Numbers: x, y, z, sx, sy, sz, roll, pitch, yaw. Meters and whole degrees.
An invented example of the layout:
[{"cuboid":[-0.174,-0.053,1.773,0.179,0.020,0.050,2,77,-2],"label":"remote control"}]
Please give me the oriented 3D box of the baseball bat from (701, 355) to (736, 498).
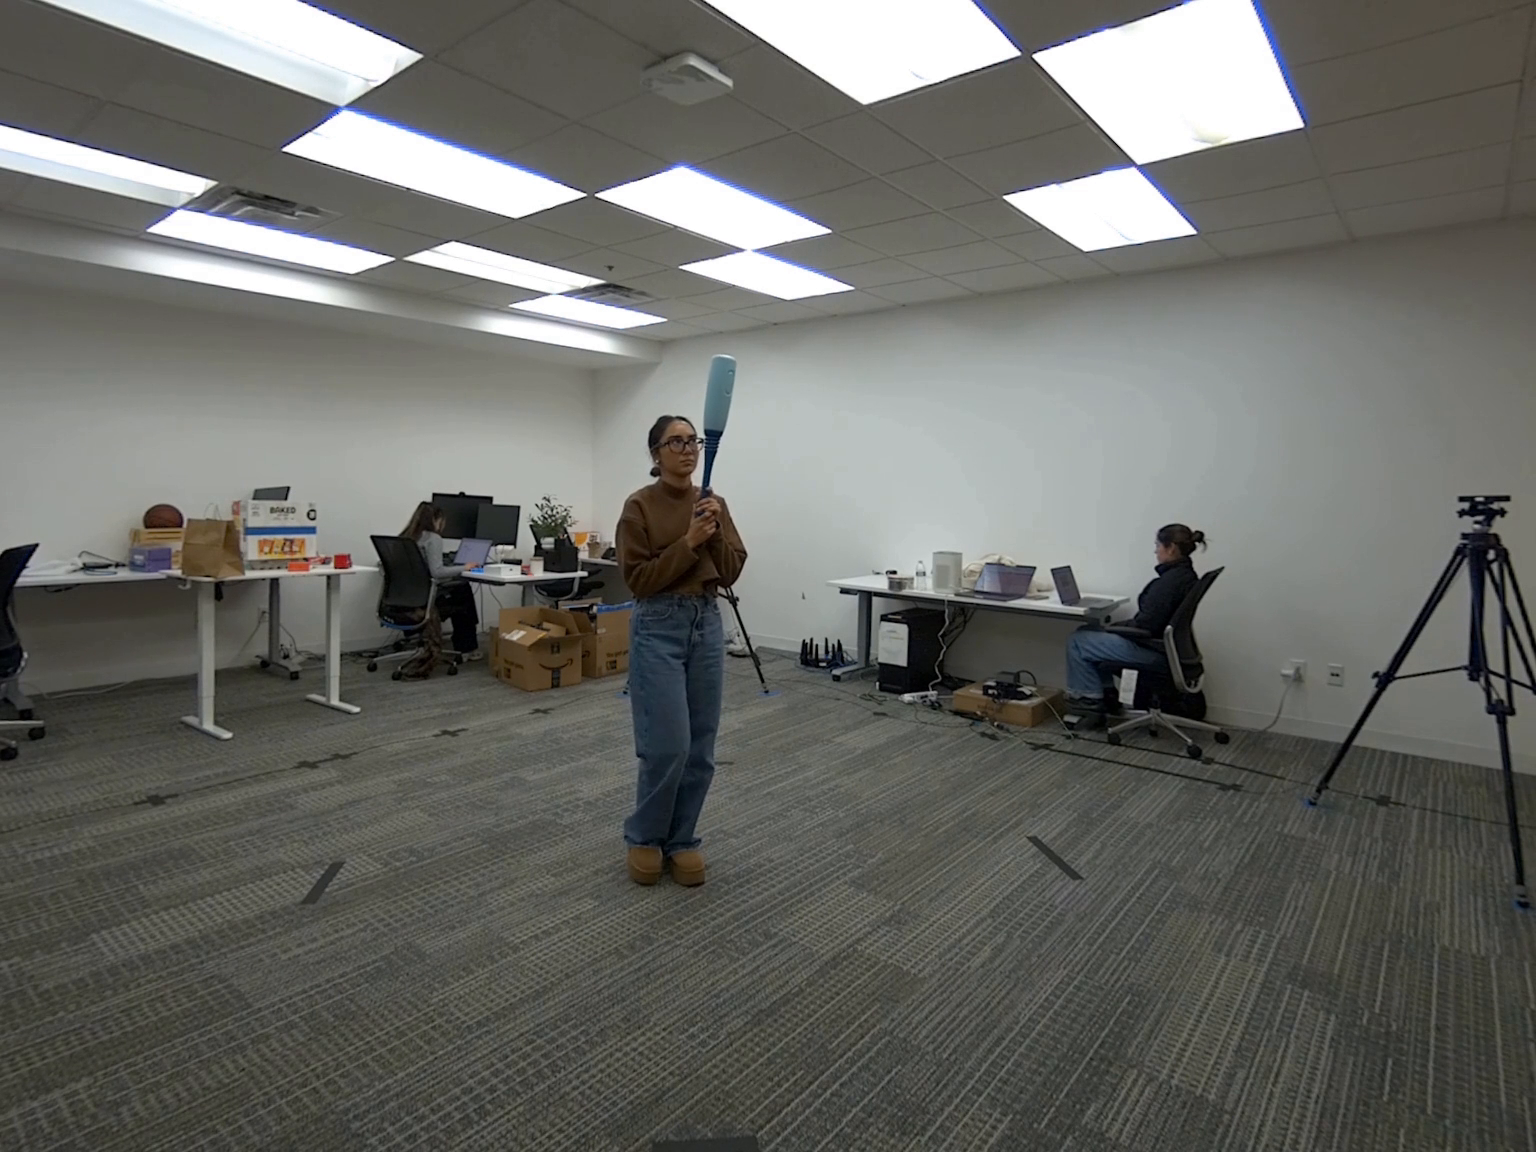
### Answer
[{"cuboid":[-0.202,-0.477,2.866,0.089,0.541,0.089,9,4,-3],"label":"baseball bat"}]
